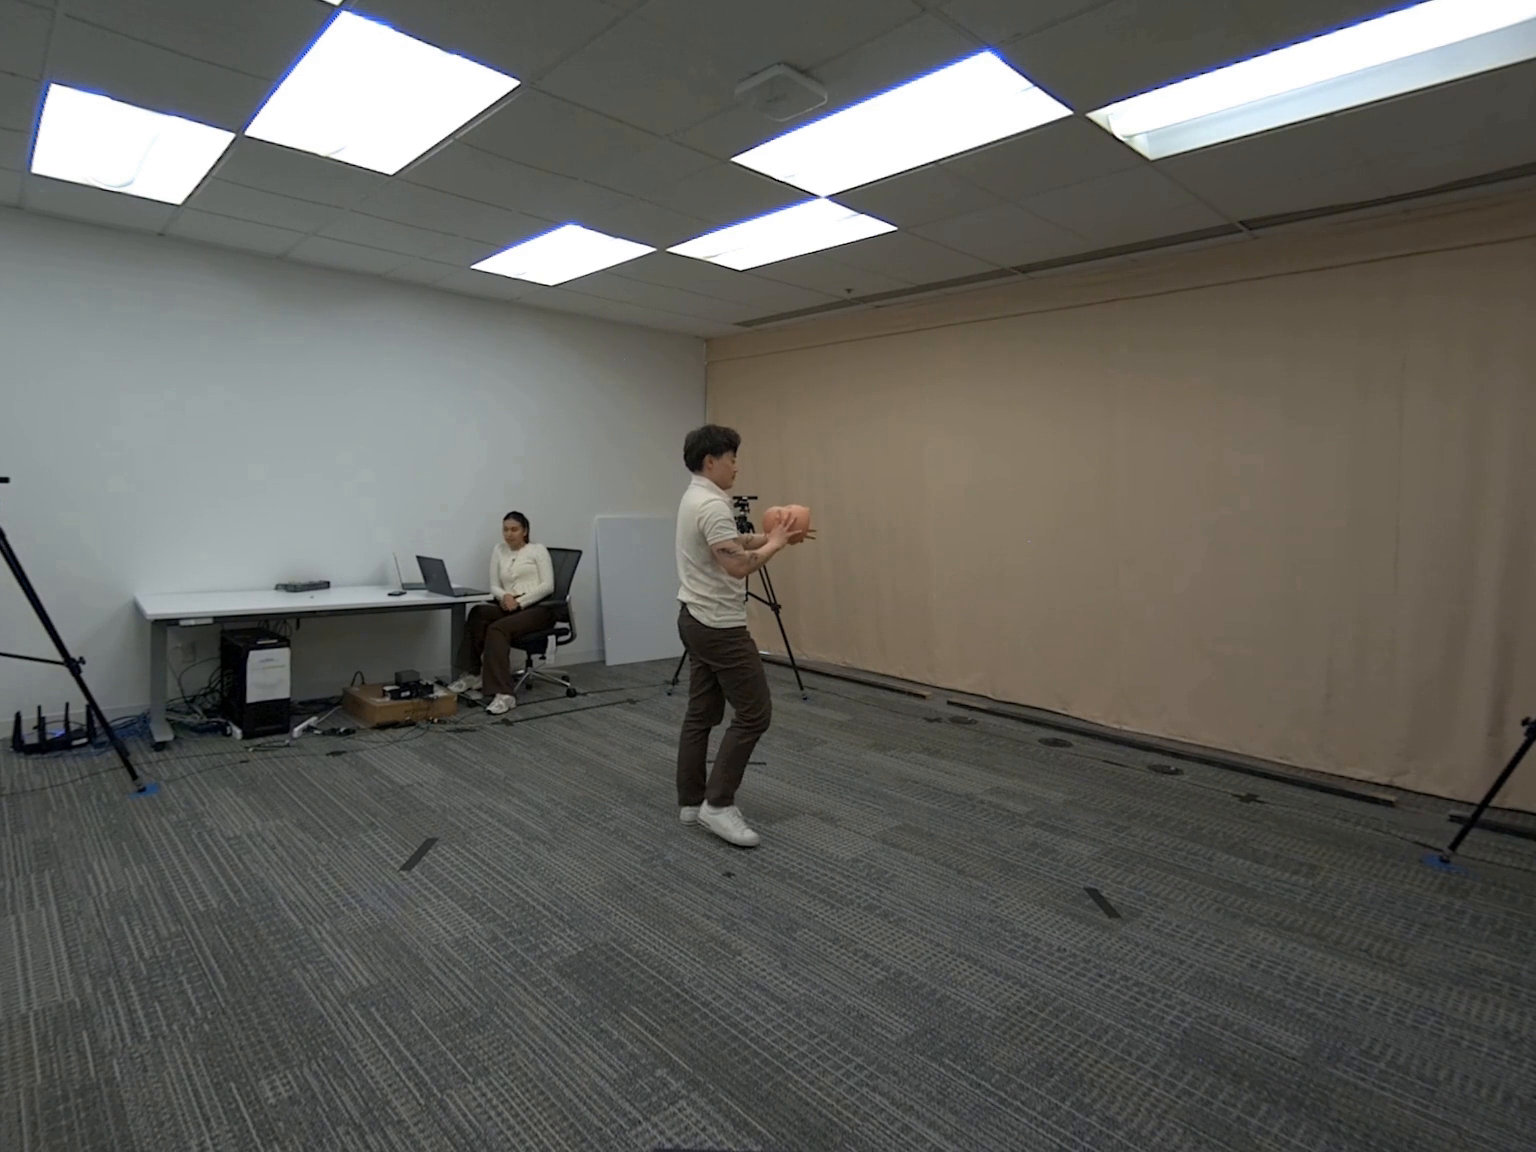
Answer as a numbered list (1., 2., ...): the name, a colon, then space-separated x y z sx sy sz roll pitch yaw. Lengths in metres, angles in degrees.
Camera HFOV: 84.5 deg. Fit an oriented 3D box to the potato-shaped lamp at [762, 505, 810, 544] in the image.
1. potato-shaped lamp: 0.060 -0.231 3.601 0.195 0.174 0.165 12 -22 -16
